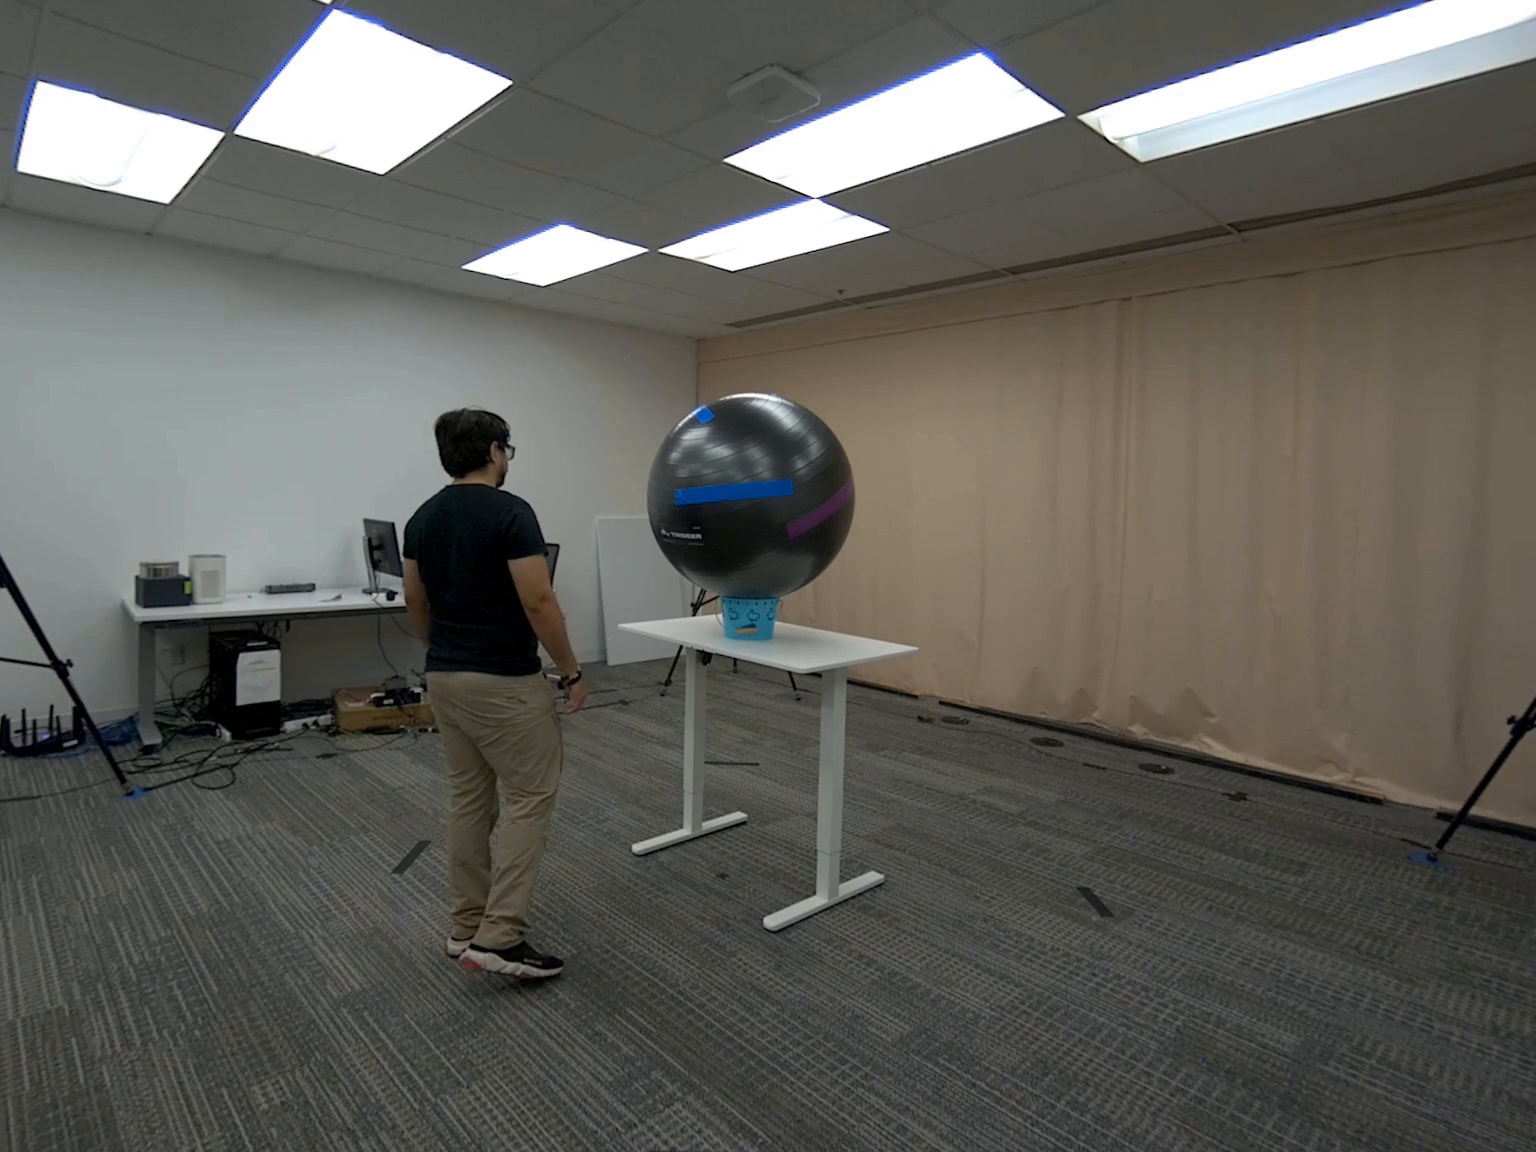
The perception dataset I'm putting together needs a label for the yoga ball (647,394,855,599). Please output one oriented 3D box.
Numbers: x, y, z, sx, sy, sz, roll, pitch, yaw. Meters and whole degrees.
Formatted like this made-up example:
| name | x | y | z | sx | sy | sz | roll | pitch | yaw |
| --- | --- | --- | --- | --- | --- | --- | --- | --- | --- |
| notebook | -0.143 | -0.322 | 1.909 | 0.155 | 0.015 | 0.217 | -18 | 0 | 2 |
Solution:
| name | x | y | z | sx | sy | sz | roll | pitch | yaw |
| --- | --- | --- | --- | --- | --- | --- | --- | --- | --- |
| yoga ball | -0.070 | -0.281 | 3.076 | 0.757 | 0.756 | 0.761 | 1 | 4 | -1 |
